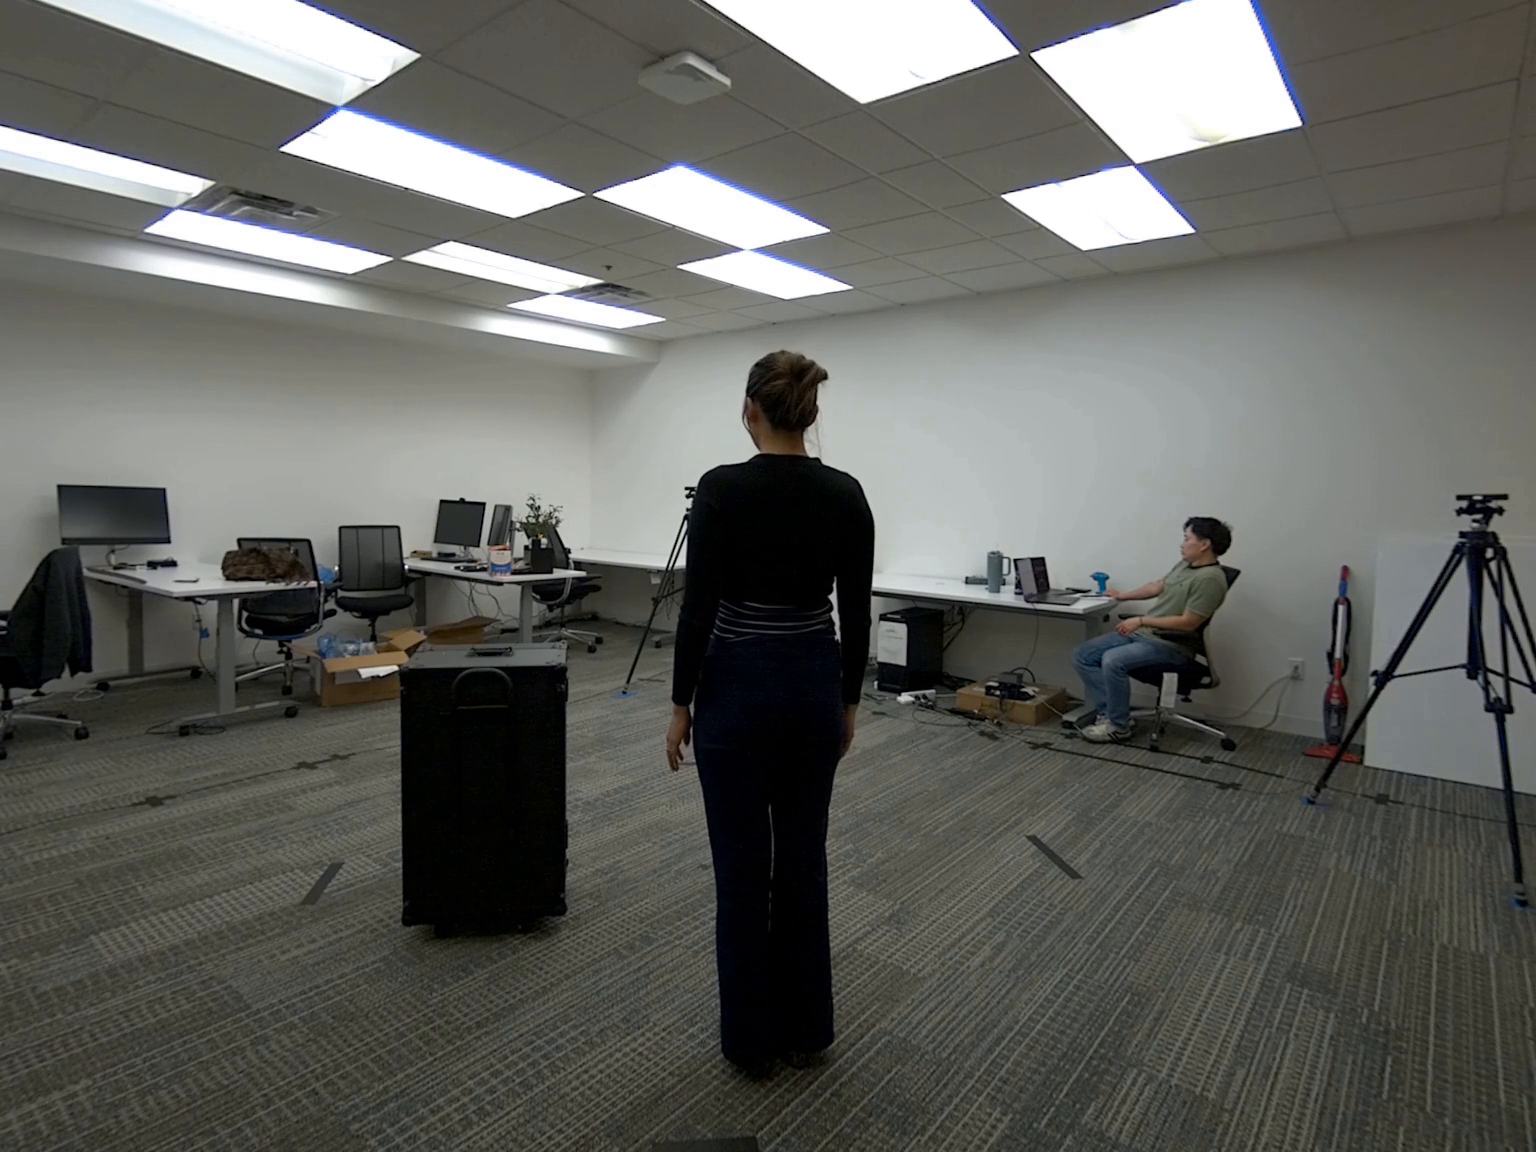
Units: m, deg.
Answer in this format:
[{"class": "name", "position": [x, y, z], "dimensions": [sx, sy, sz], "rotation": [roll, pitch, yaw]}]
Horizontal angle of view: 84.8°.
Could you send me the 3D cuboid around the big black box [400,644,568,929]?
[{"class": "big black box", "position": [-0.894, 0.669, 2.714], "dimensions": [0.516, 0.858, 0.402], "rotation": [0, 5, -10]}]
